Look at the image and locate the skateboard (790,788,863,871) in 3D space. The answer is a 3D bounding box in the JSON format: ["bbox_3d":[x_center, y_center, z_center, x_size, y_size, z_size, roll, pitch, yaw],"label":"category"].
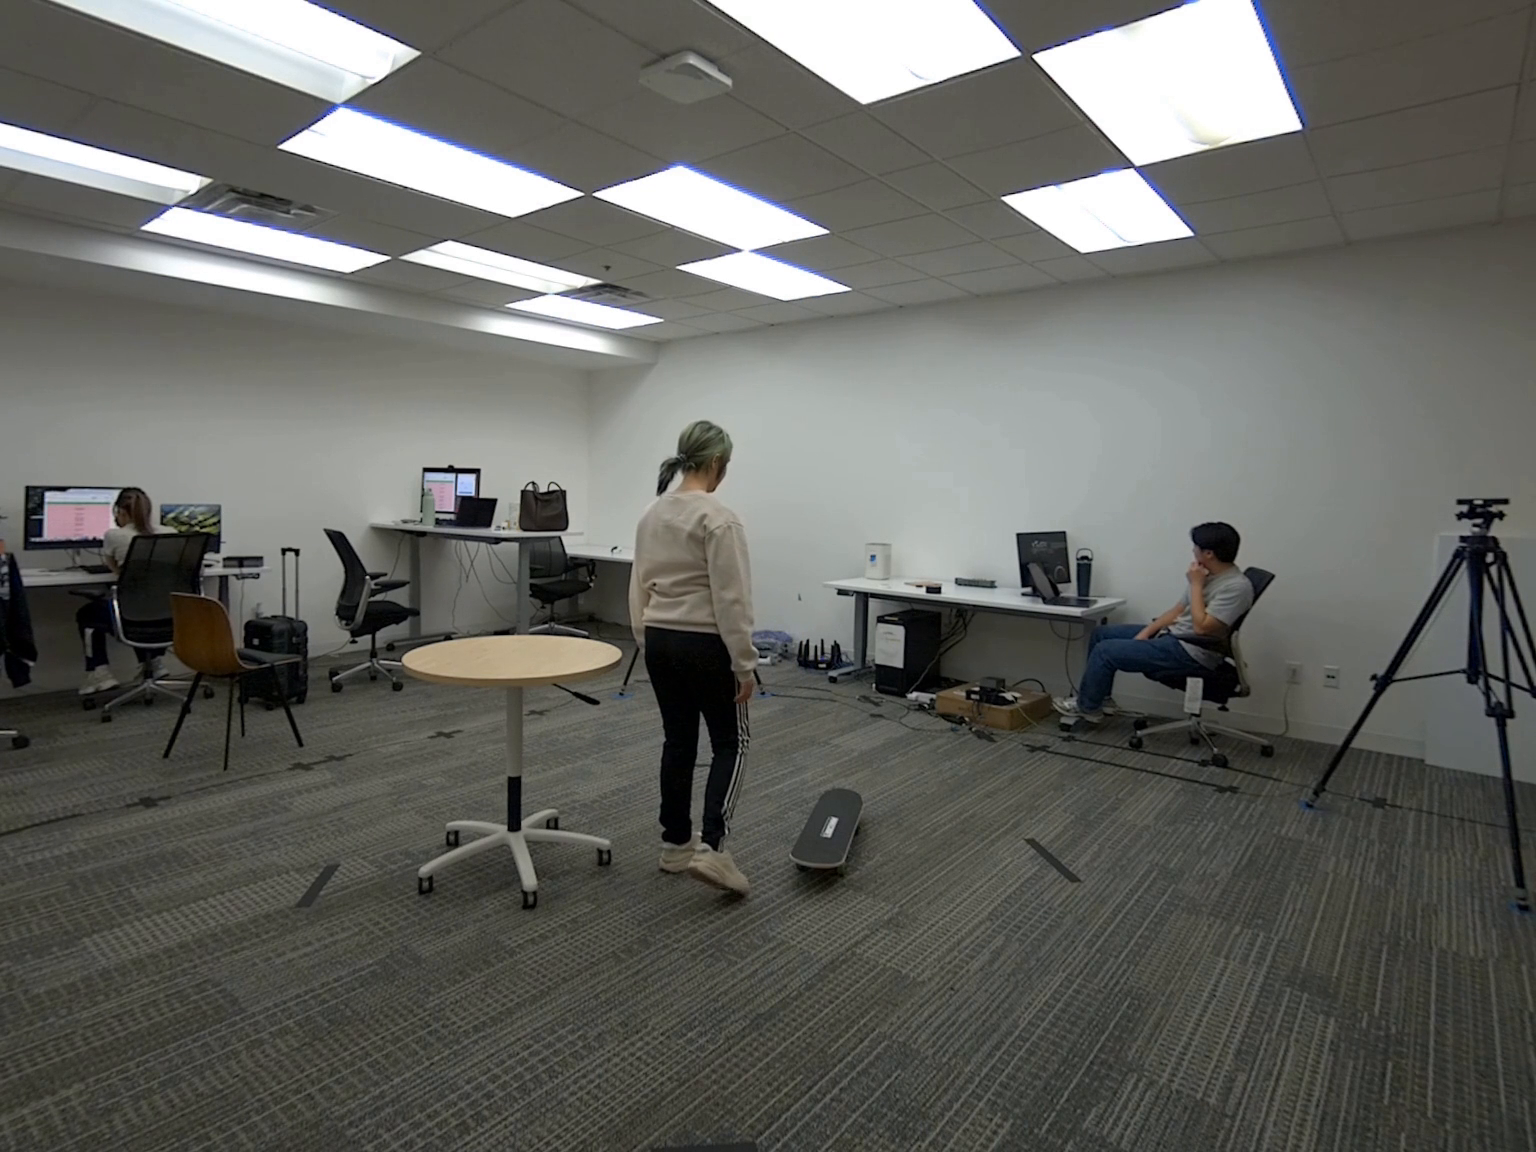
[{"bbox_3d":[0.235,1.002,3.310,0.196,0.110,0.776,3,6,13],"label":"skateboard"}]
